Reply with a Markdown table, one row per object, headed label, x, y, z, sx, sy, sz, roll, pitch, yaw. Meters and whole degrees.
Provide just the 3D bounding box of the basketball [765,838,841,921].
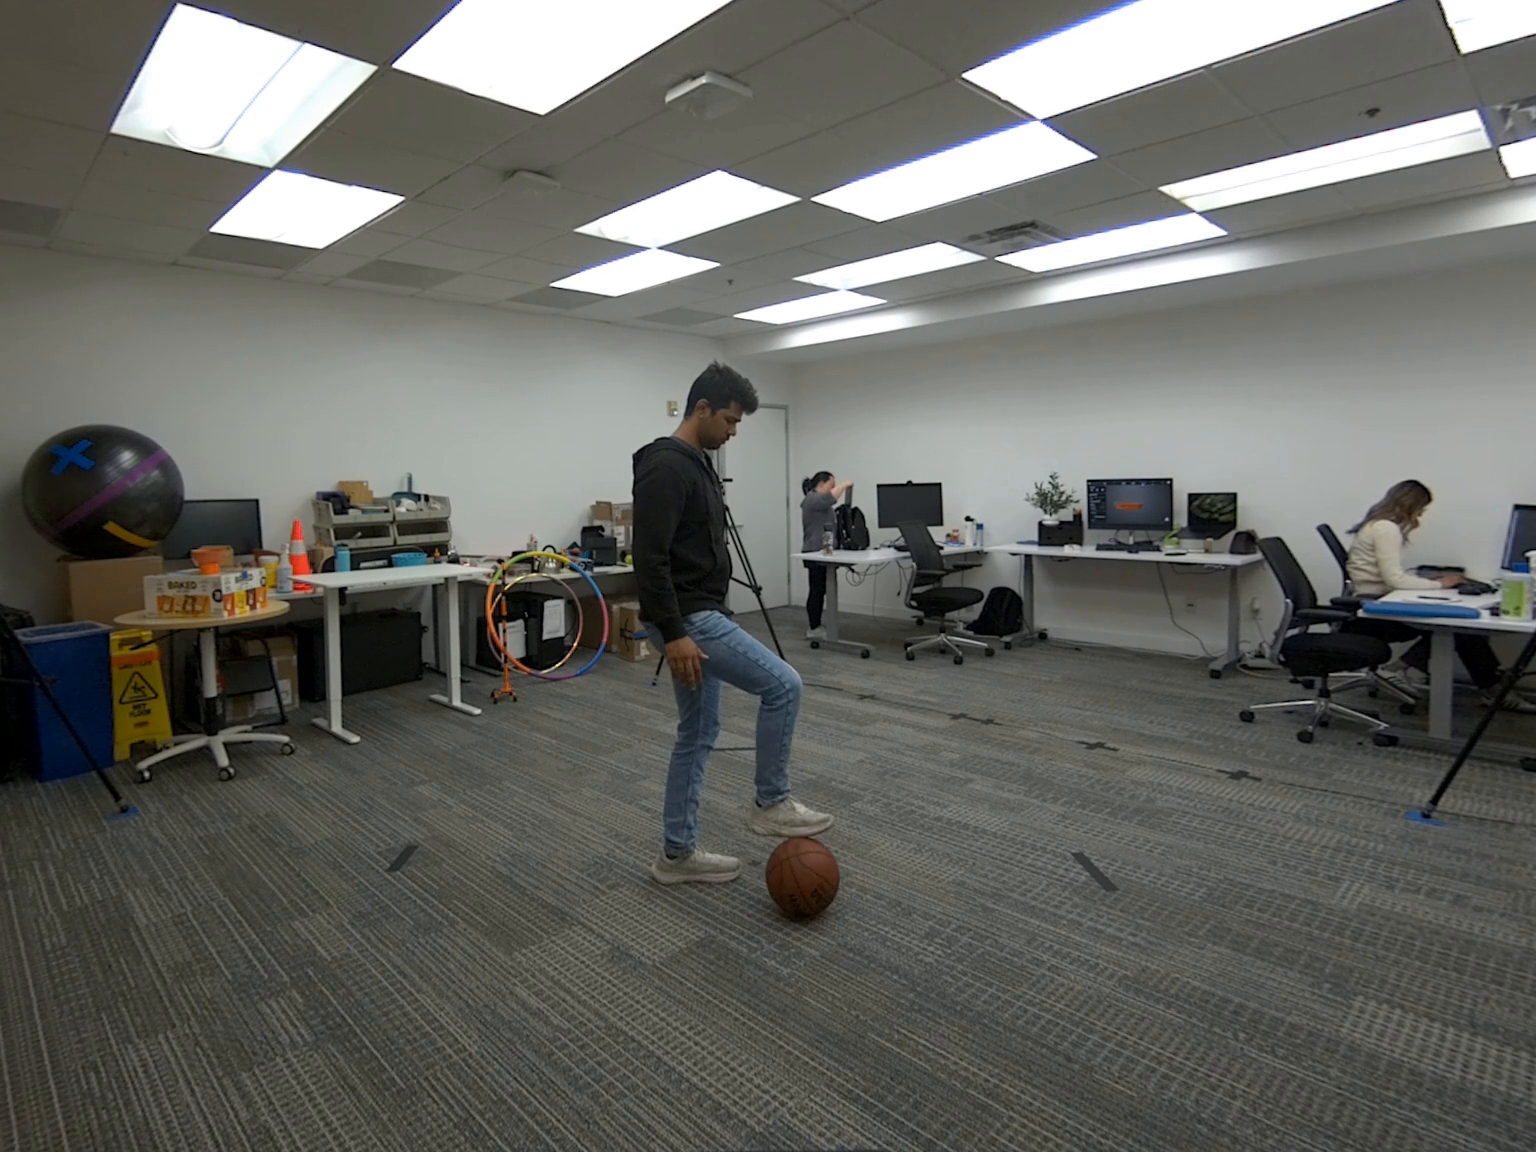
| label | x | y | z | sx | sy | sz | roll | pitch | yaw |
| --- | --- | --- | --- | --- | --- | --- | --- | --- | --- |
| basketball | 0.111 | 0.964 | 2.746 | 0.236 | 0.235 | 0.237 | -1 | 5 | -2 |
